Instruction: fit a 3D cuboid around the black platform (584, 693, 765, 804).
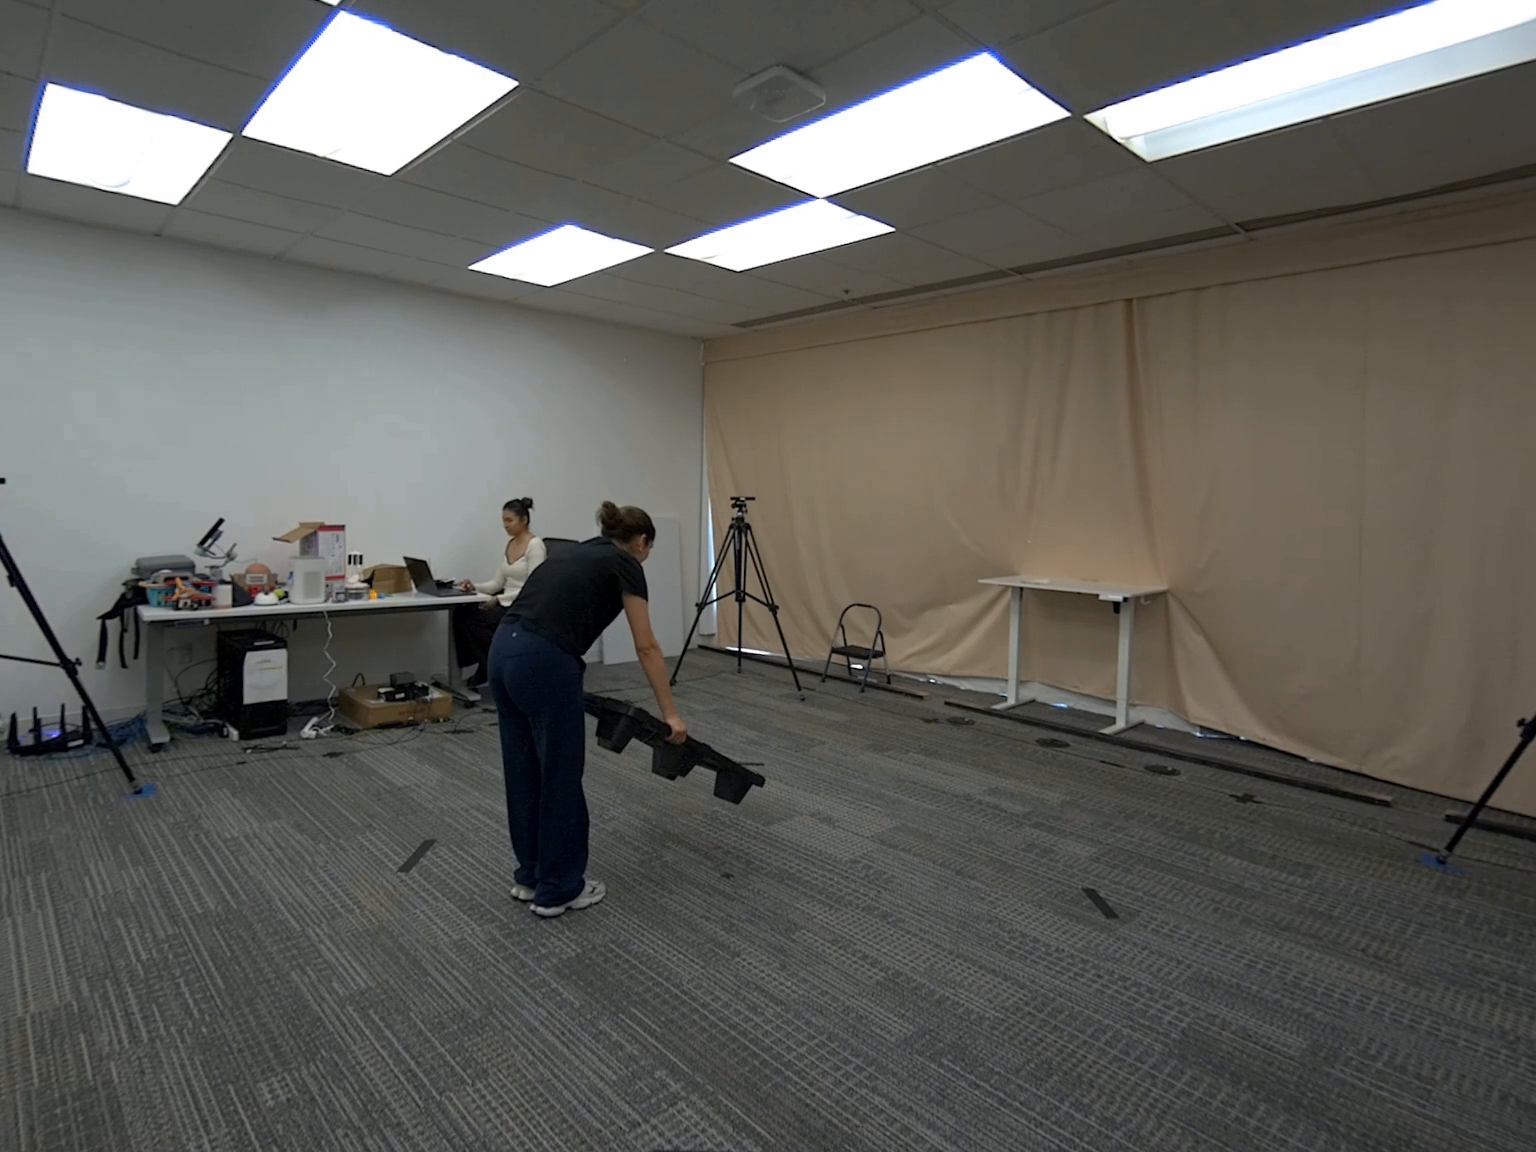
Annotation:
[{"bbox_3d":[-0.475,0.648,3.203,0.620,0.144,0.780,5,-26,42],"label":"black platform"}]
